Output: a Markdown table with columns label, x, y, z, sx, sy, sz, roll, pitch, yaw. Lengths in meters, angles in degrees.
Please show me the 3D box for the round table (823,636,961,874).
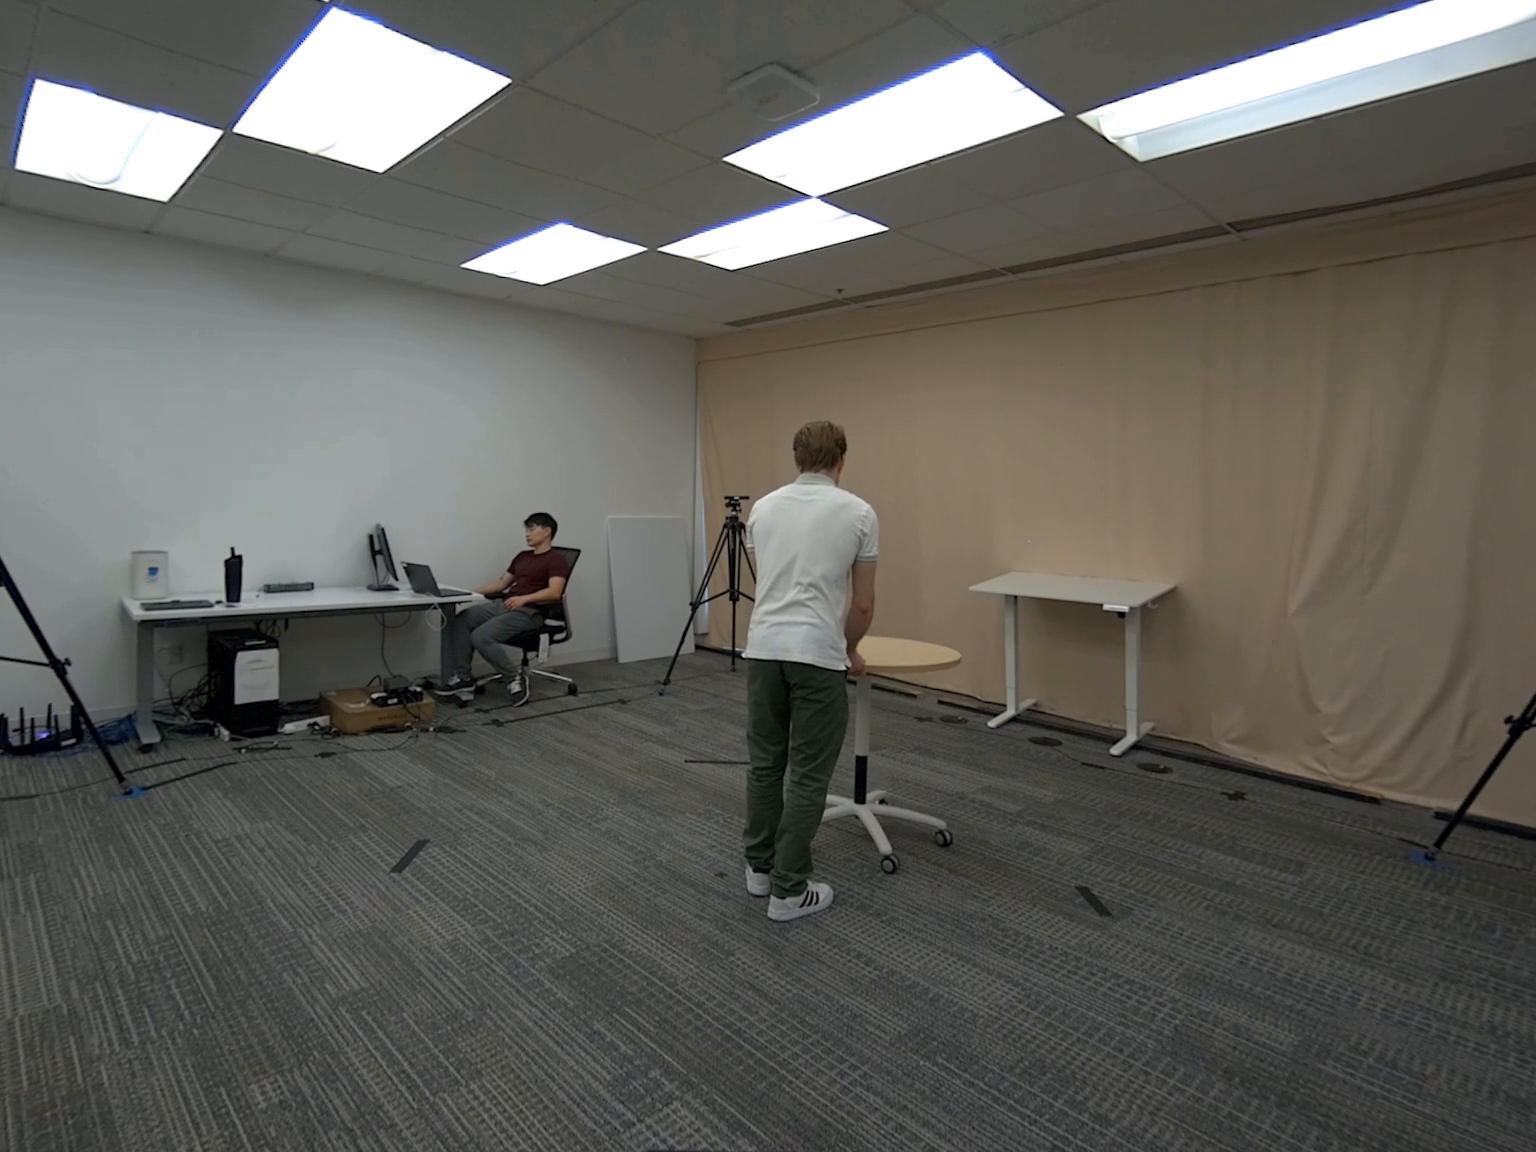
| label | x | y | z | sx | sy | sz | roll | pitch | yaw |
| --- | --- | --- | --- | --- | --- | --- | --- | --- | --- |
| round table | 0.379 | 0.694 | 3.486 | 0.763 | 0.792 | 0.766 | 2 | 3 | -1 |
